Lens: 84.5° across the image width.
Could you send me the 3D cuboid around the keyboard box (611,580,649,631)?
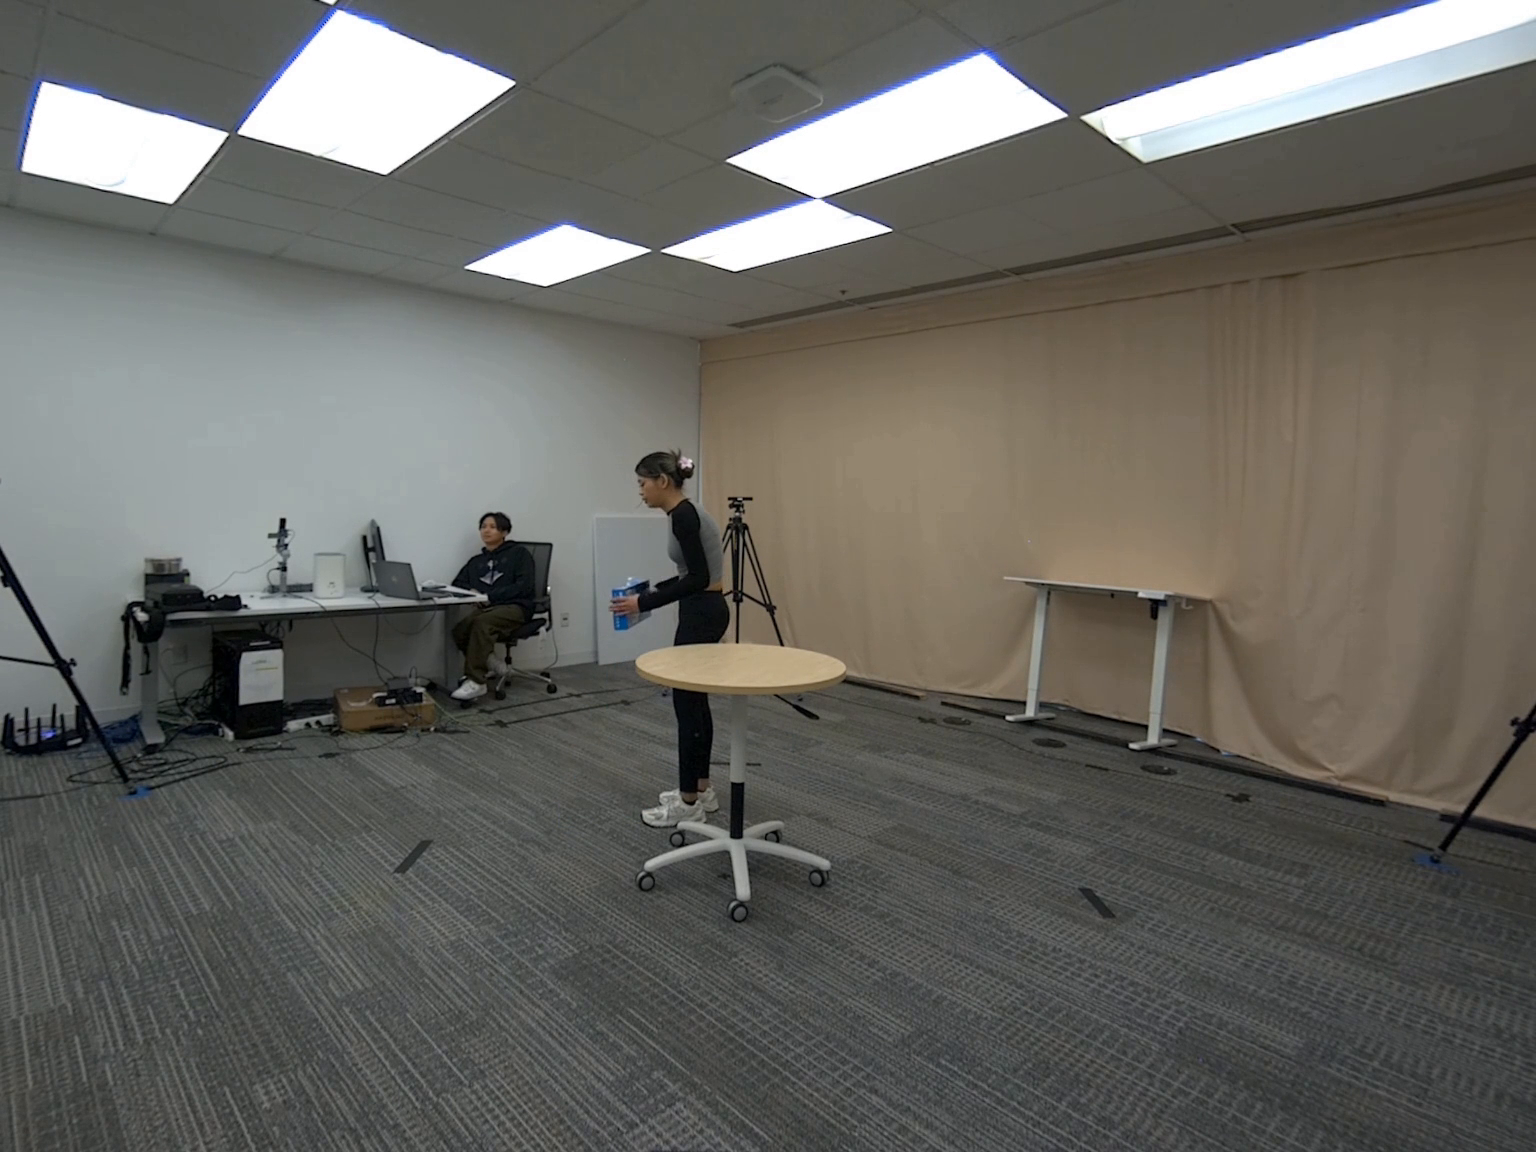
[{"bbox_3d":[-0.595,0.118,3.715,0.059,0.175,0.435,-4,5,7],"label":"keyboard box"}]
